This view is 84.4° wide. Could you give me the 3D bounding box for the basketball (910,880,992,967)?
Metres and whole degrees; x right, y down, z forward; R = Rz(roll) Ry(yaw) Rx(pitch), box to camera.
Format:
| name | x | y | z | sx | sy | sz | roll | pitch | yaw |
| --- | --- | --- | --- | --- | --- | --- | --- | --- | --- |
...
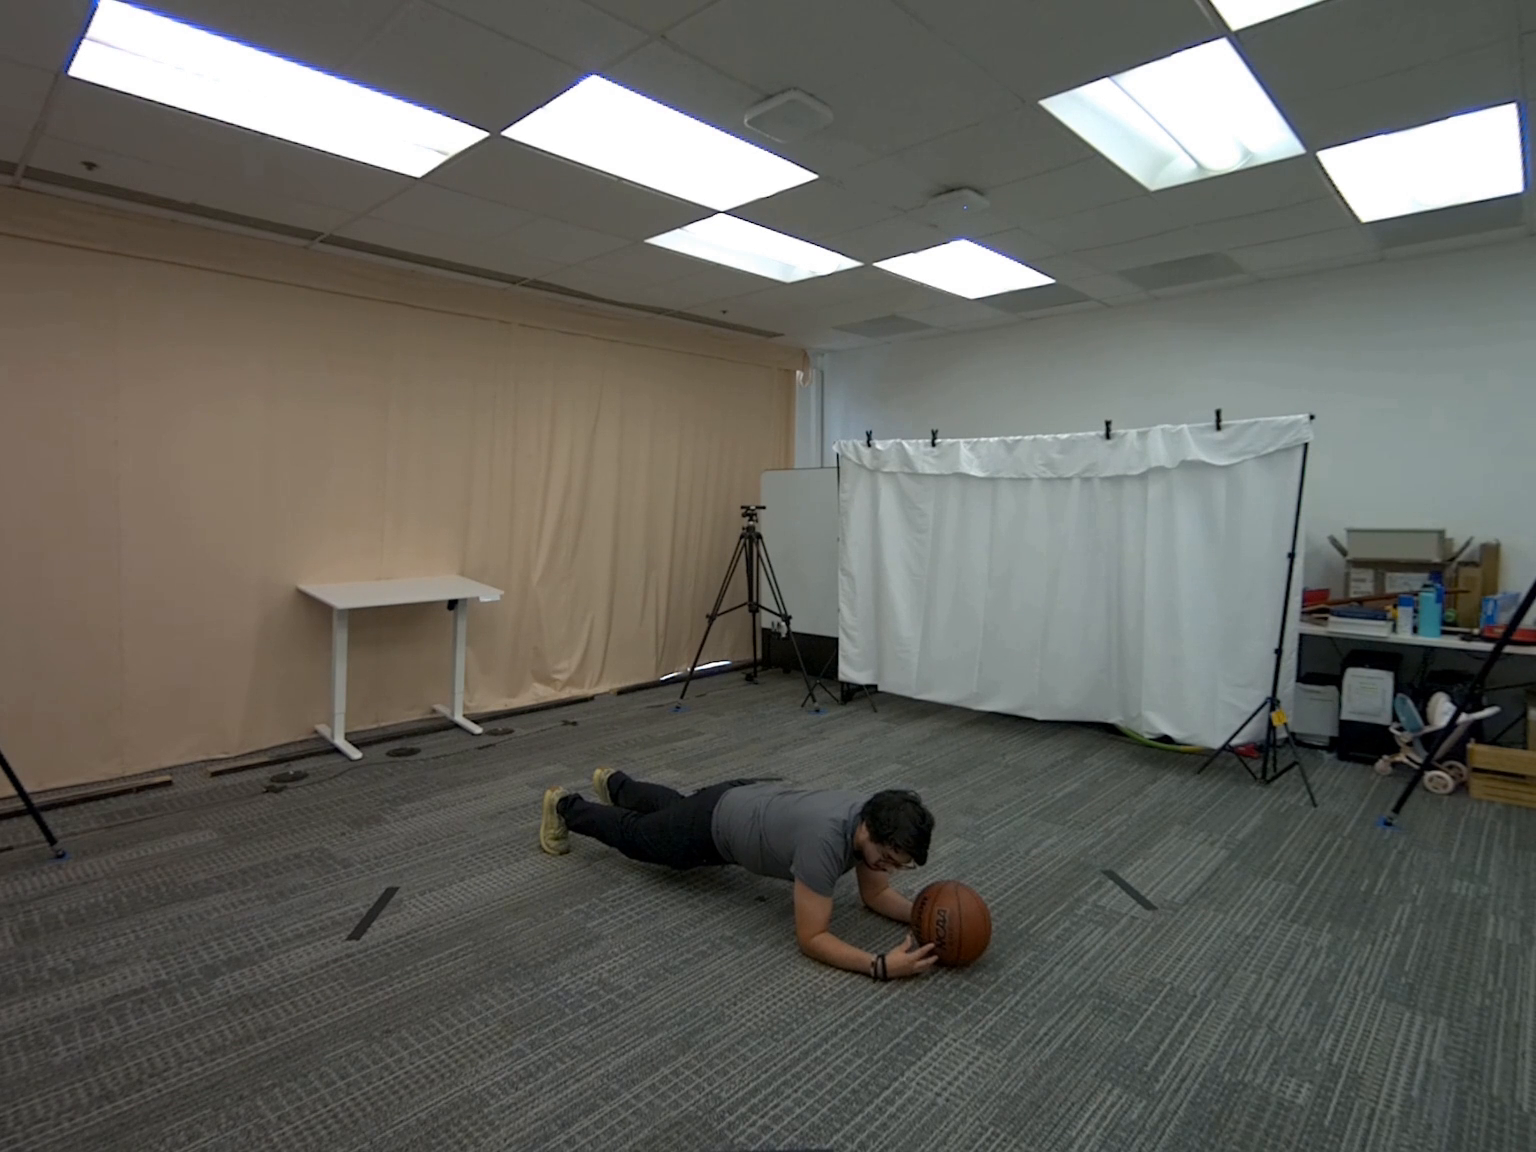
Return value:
| name | x | y | z | sx | sy | sz | roll | pitch | yaw |
| --- | --- | --- | --- | --- | --- | --- | --- | --- | --- |
| basketball | 0.567 | 1.059 | 2.567 | 0.236 | 0.235 | 0.237 | 0 | 4 | -2 |
